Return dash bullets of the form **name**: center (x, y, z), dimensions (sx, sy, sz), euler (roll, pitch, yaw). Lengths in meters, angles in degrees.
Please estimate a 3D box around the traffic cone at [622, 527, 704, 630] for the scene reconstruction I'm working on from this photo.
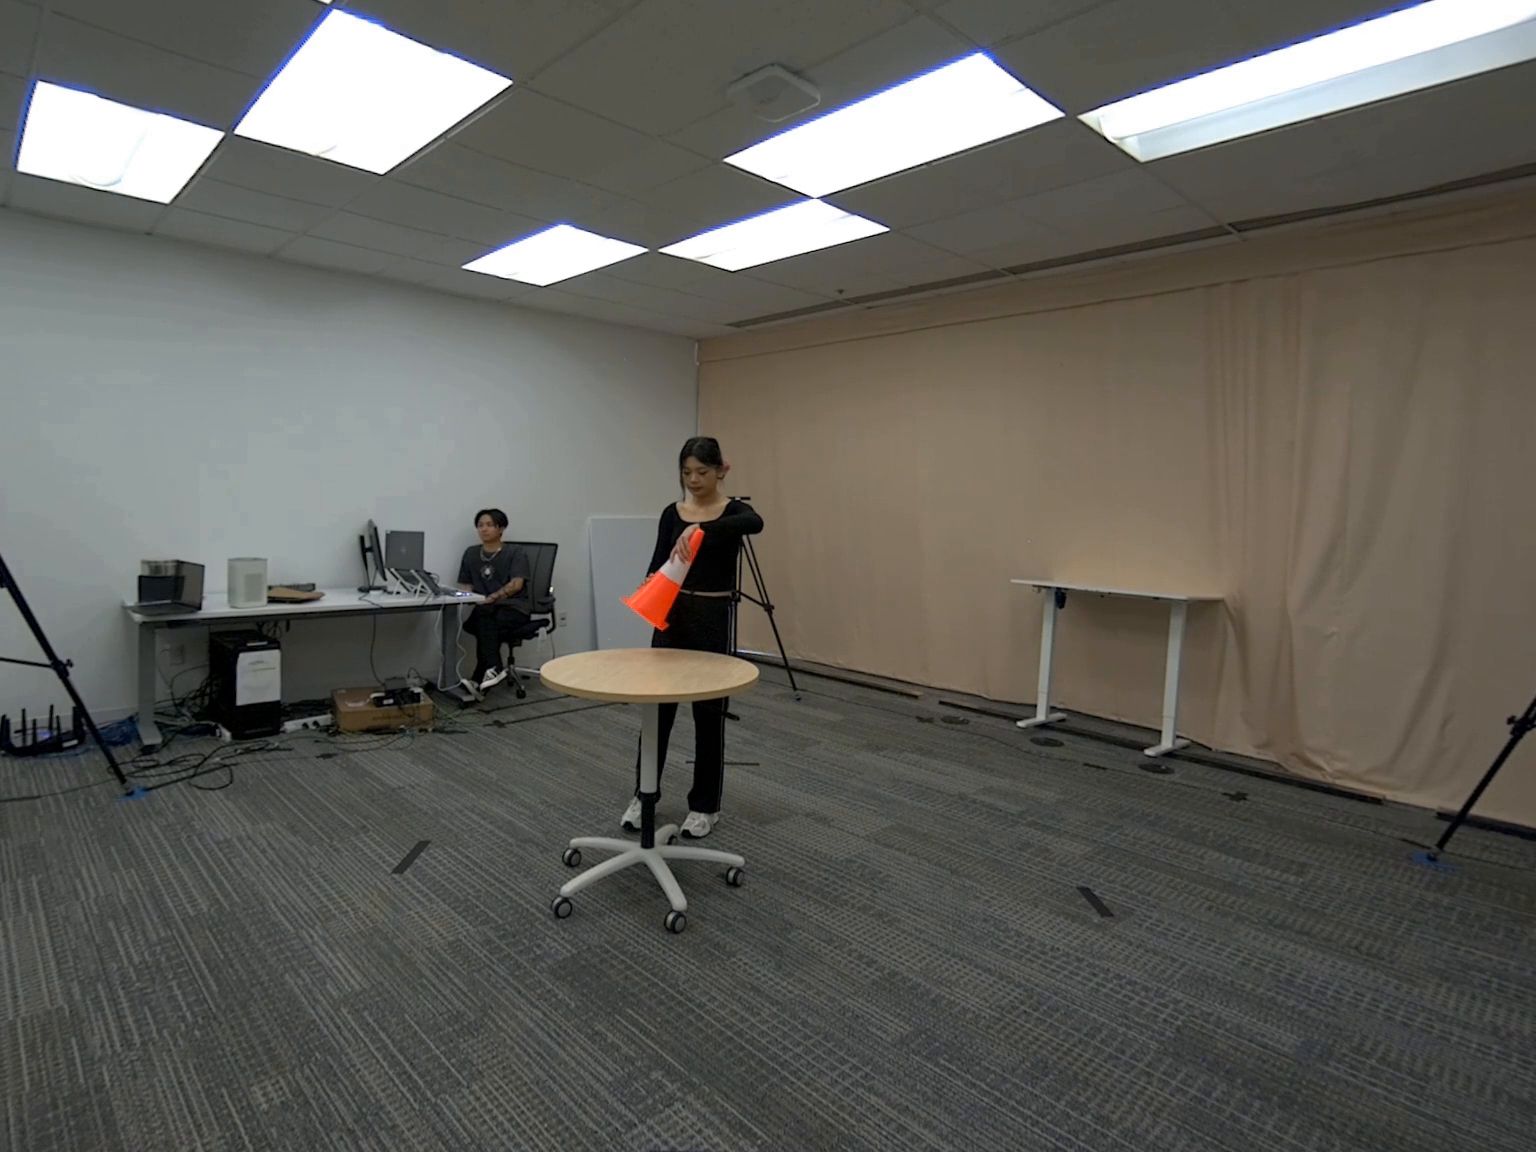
- **traffic cone**: center (-0.385, -0.012, 3.186), dimensions (0.206, 0.383, 0.202), euler (34, 2, 5)
